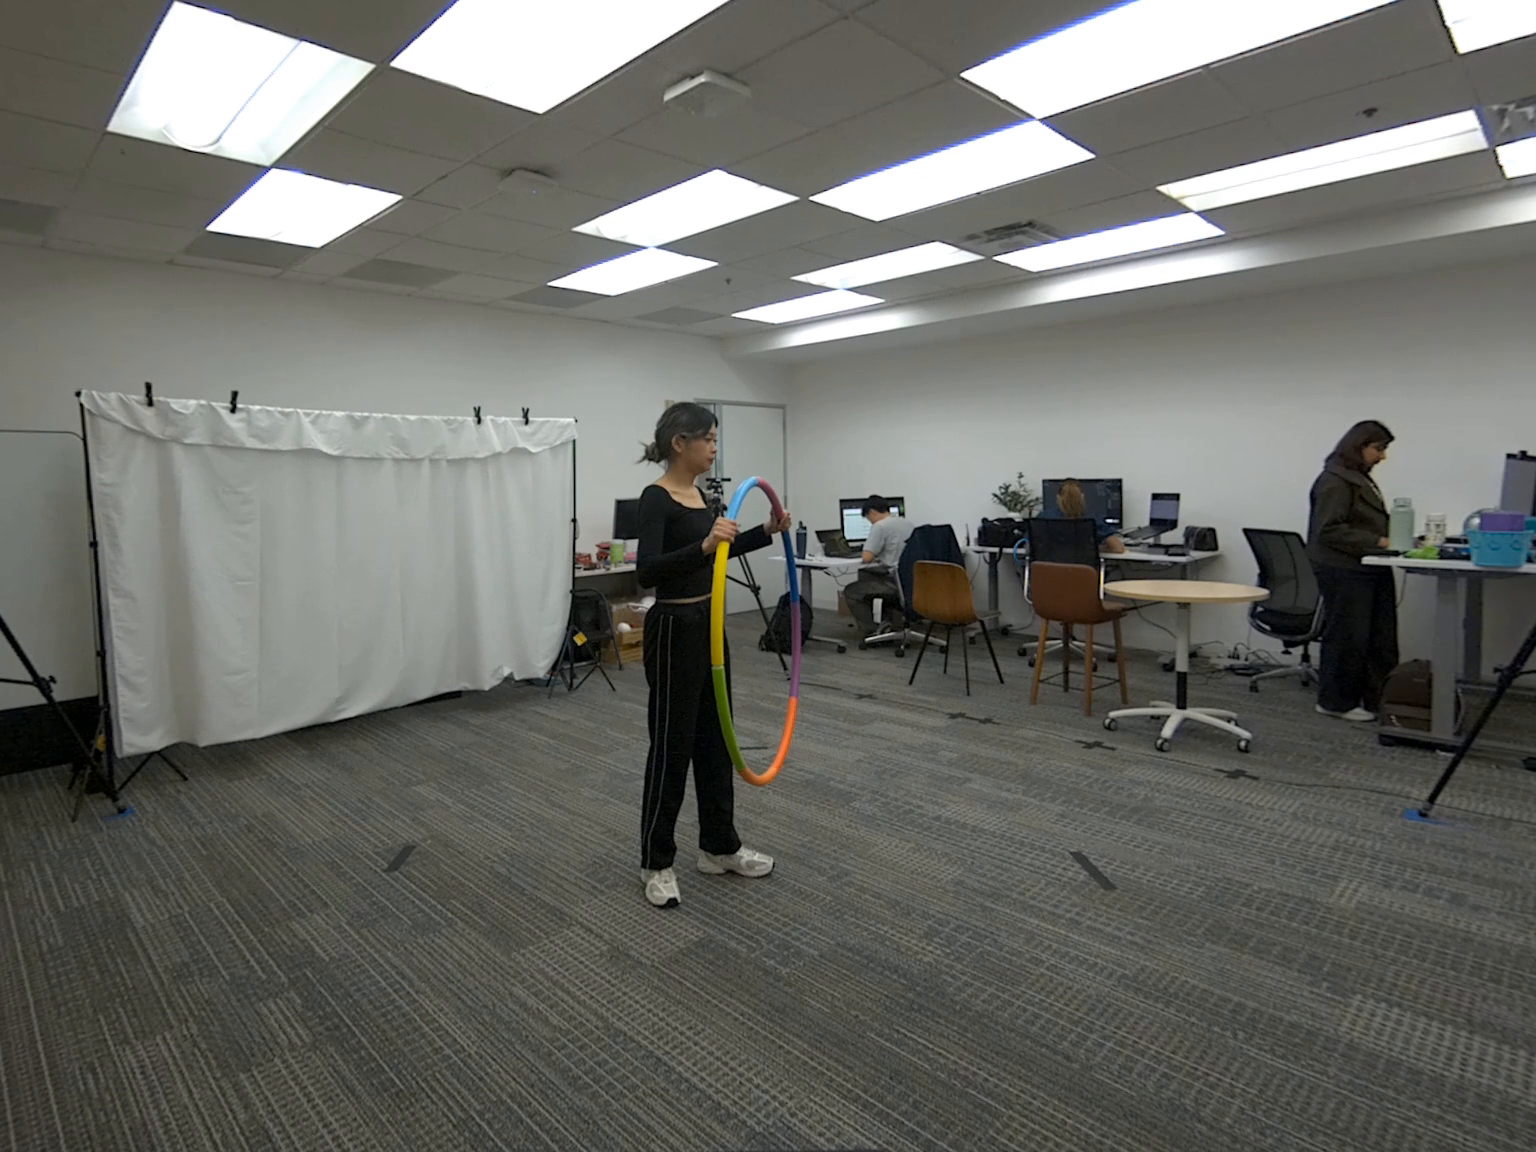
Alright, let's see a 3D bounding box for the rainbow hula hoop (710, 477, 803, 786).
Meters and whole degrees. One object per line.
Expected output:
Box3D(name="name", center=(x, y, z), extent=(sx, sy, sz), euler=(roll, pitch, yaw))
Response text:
Box3D(name="rainbow hula hoop", center=(-0.013, 0.172, 2.811), extent=(0.036, 0.976, 0.967), euler=(-3, 4, 15))
